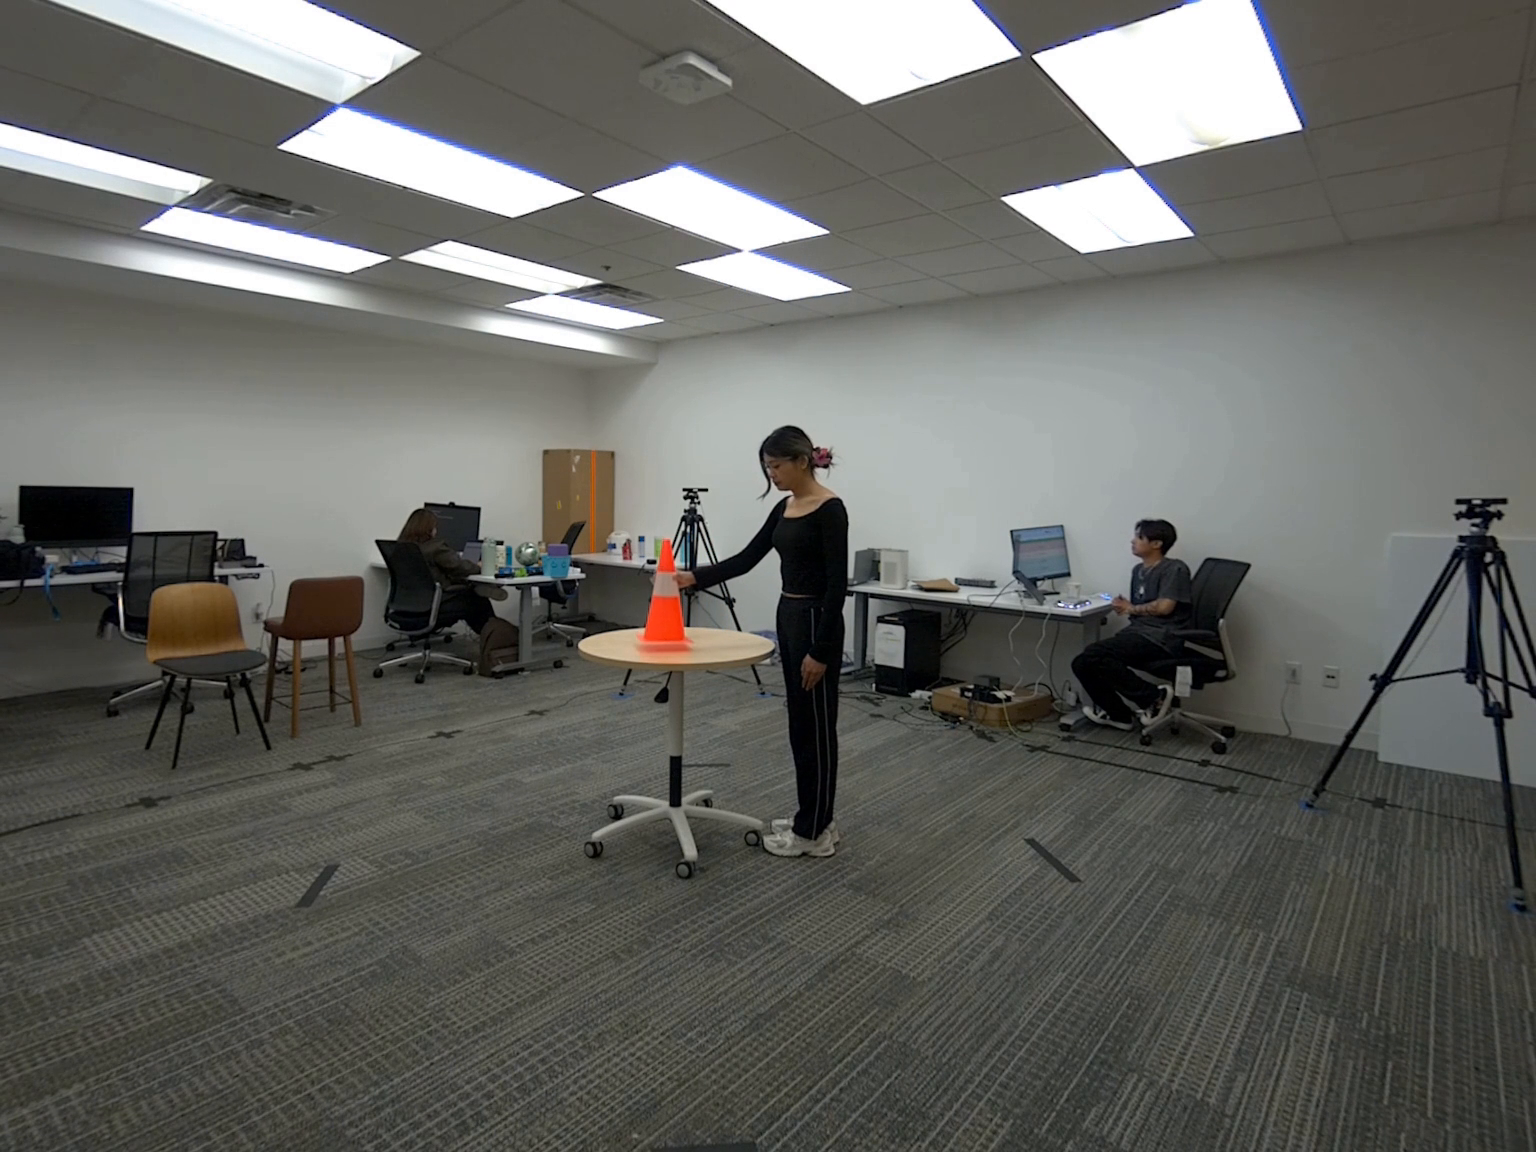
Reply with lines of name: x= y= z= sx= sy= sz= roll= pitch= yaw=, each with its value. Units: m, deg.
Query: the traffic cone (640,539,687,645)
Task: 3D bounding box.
traffic cone: x=-0.398 y=0.050 z=3.244 sx=0.201 sy=0.384 sz=0.208 roll=1 pitch=1 yaw=-12
